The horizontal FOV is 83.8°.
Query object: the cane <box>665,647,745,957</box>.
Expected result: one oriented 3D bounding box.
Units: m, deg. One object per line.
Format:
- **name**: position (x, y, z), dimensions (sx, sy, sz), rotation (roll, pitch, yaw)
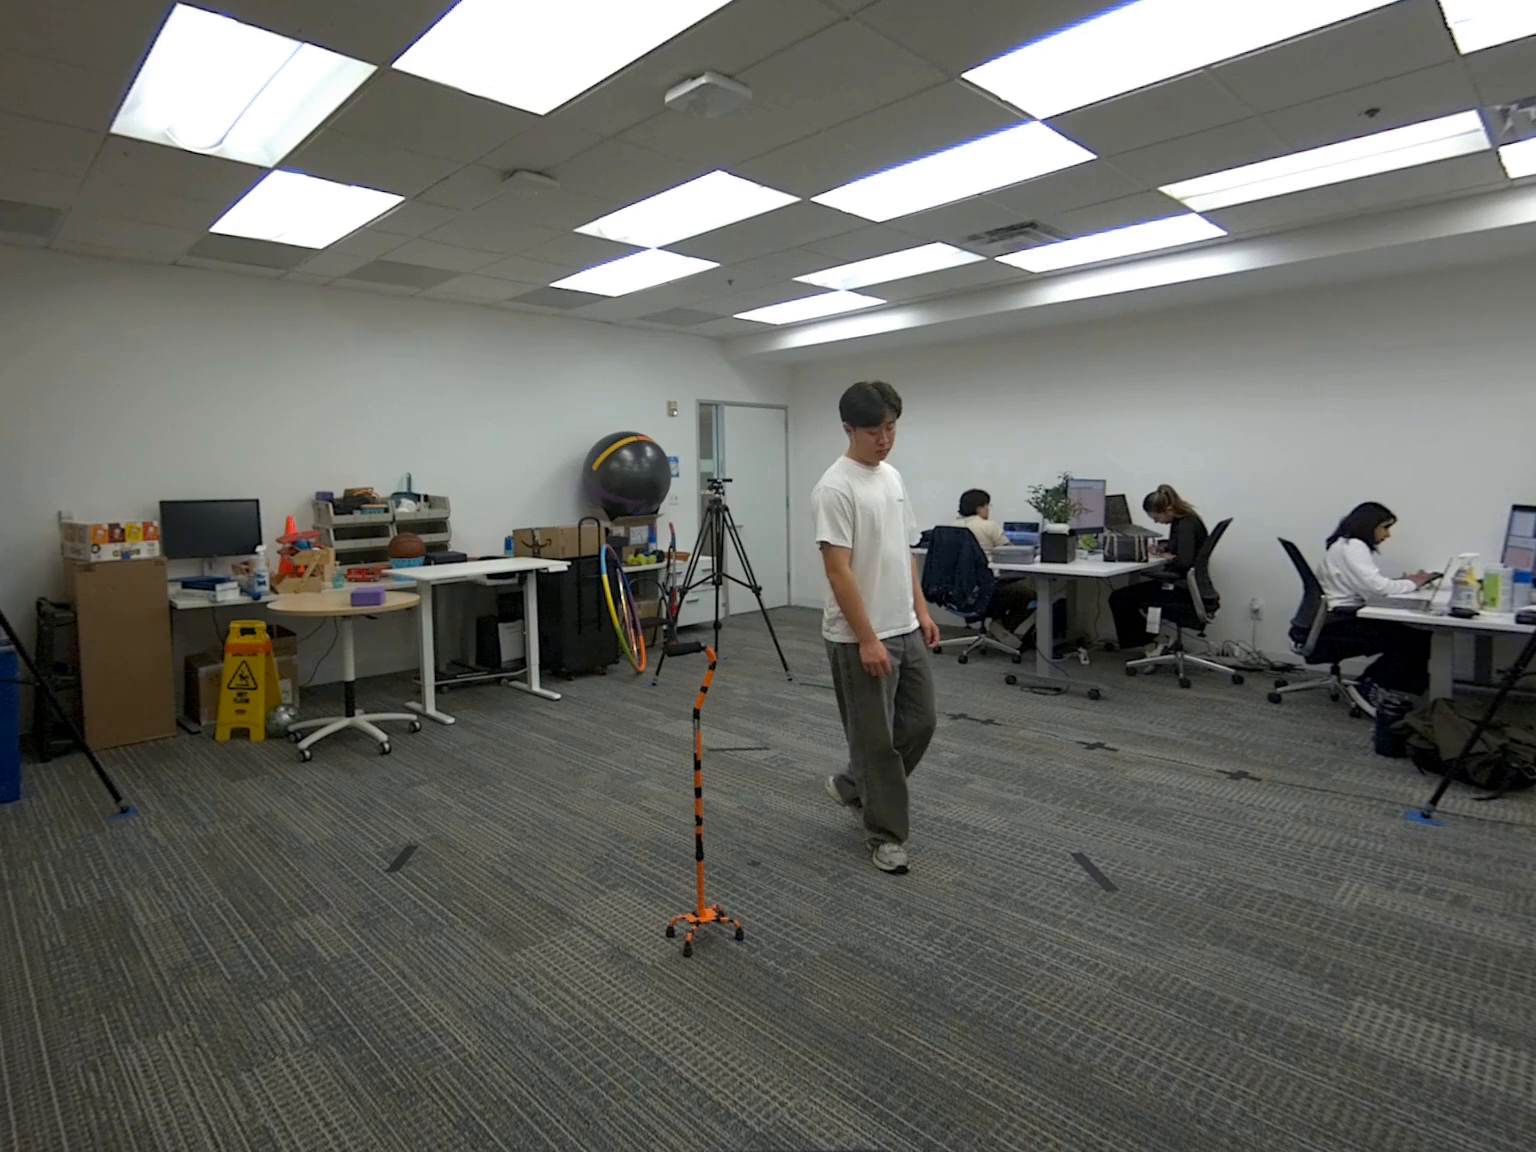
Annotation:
- **cane**: position (-0.198, 0.654, 2.585), dimensions (0.201, 0.905, 0.156), rotation (-3, 4, -31)
